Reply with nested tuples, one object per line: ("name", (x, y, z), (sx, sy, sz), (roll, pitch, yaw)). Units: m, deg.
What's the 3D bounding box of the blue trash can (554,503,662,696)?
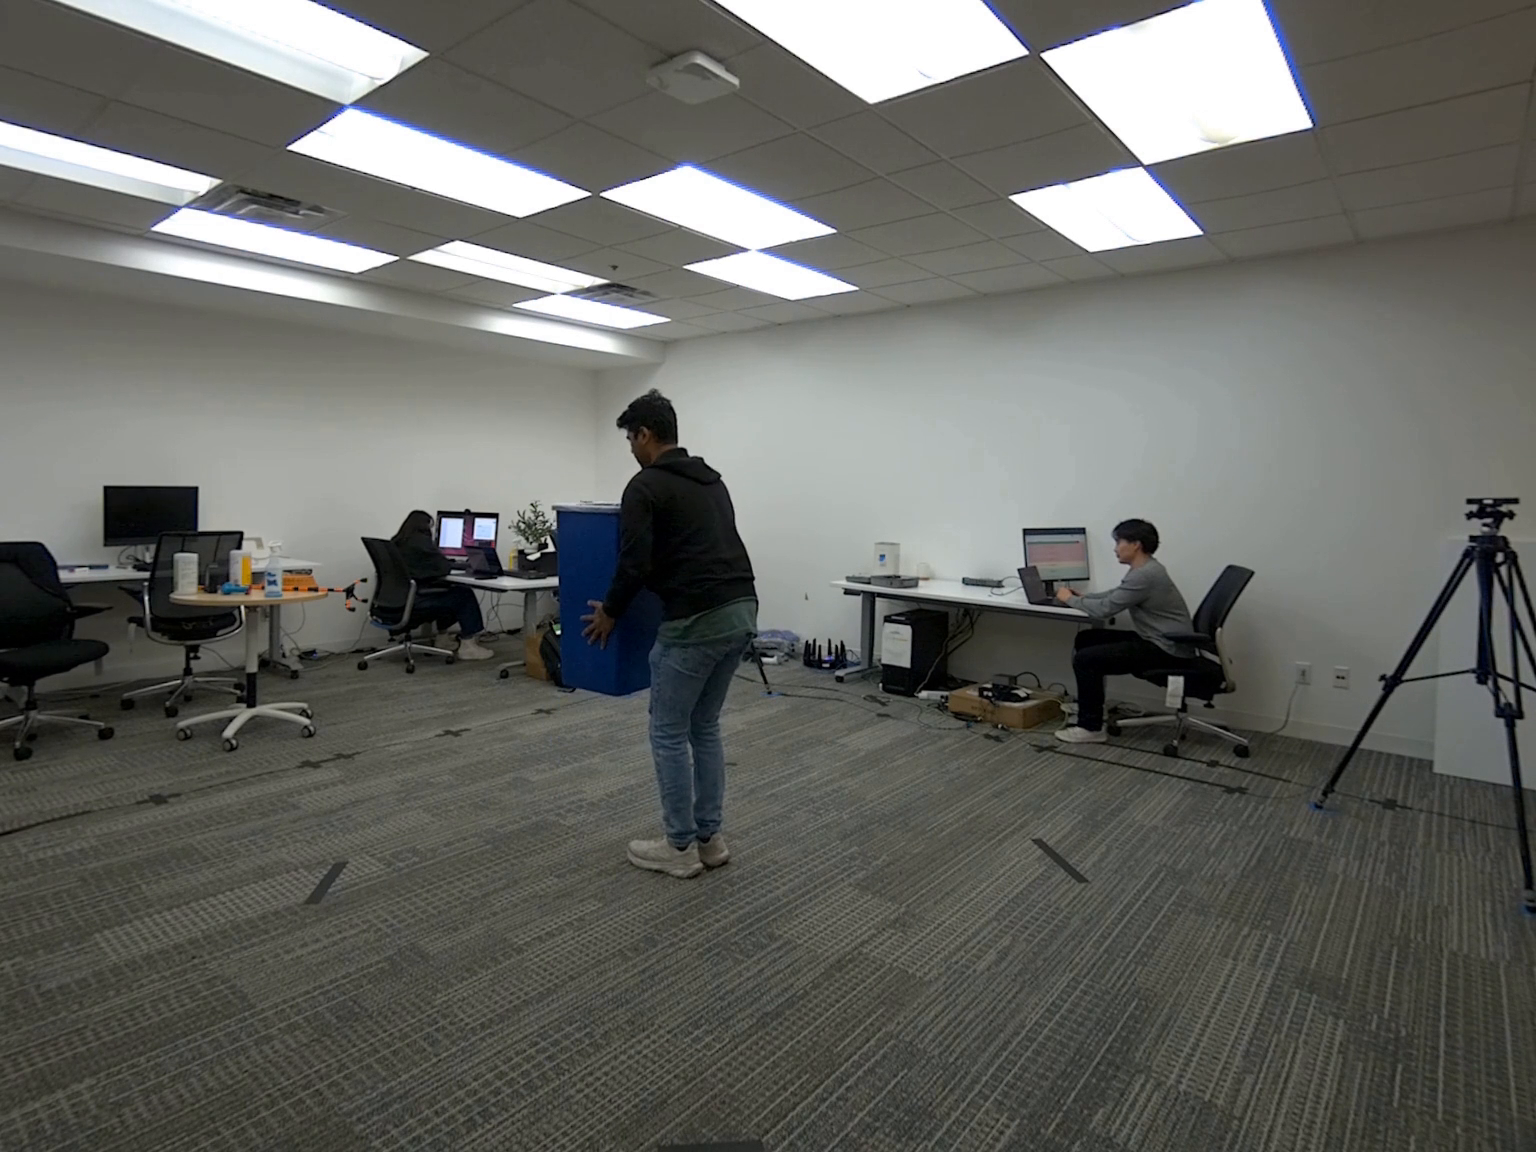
("blue trash can", (-0.626, 0.077, 3.369), (0.386, 0.710, 0.368), (5, 6, 33))
